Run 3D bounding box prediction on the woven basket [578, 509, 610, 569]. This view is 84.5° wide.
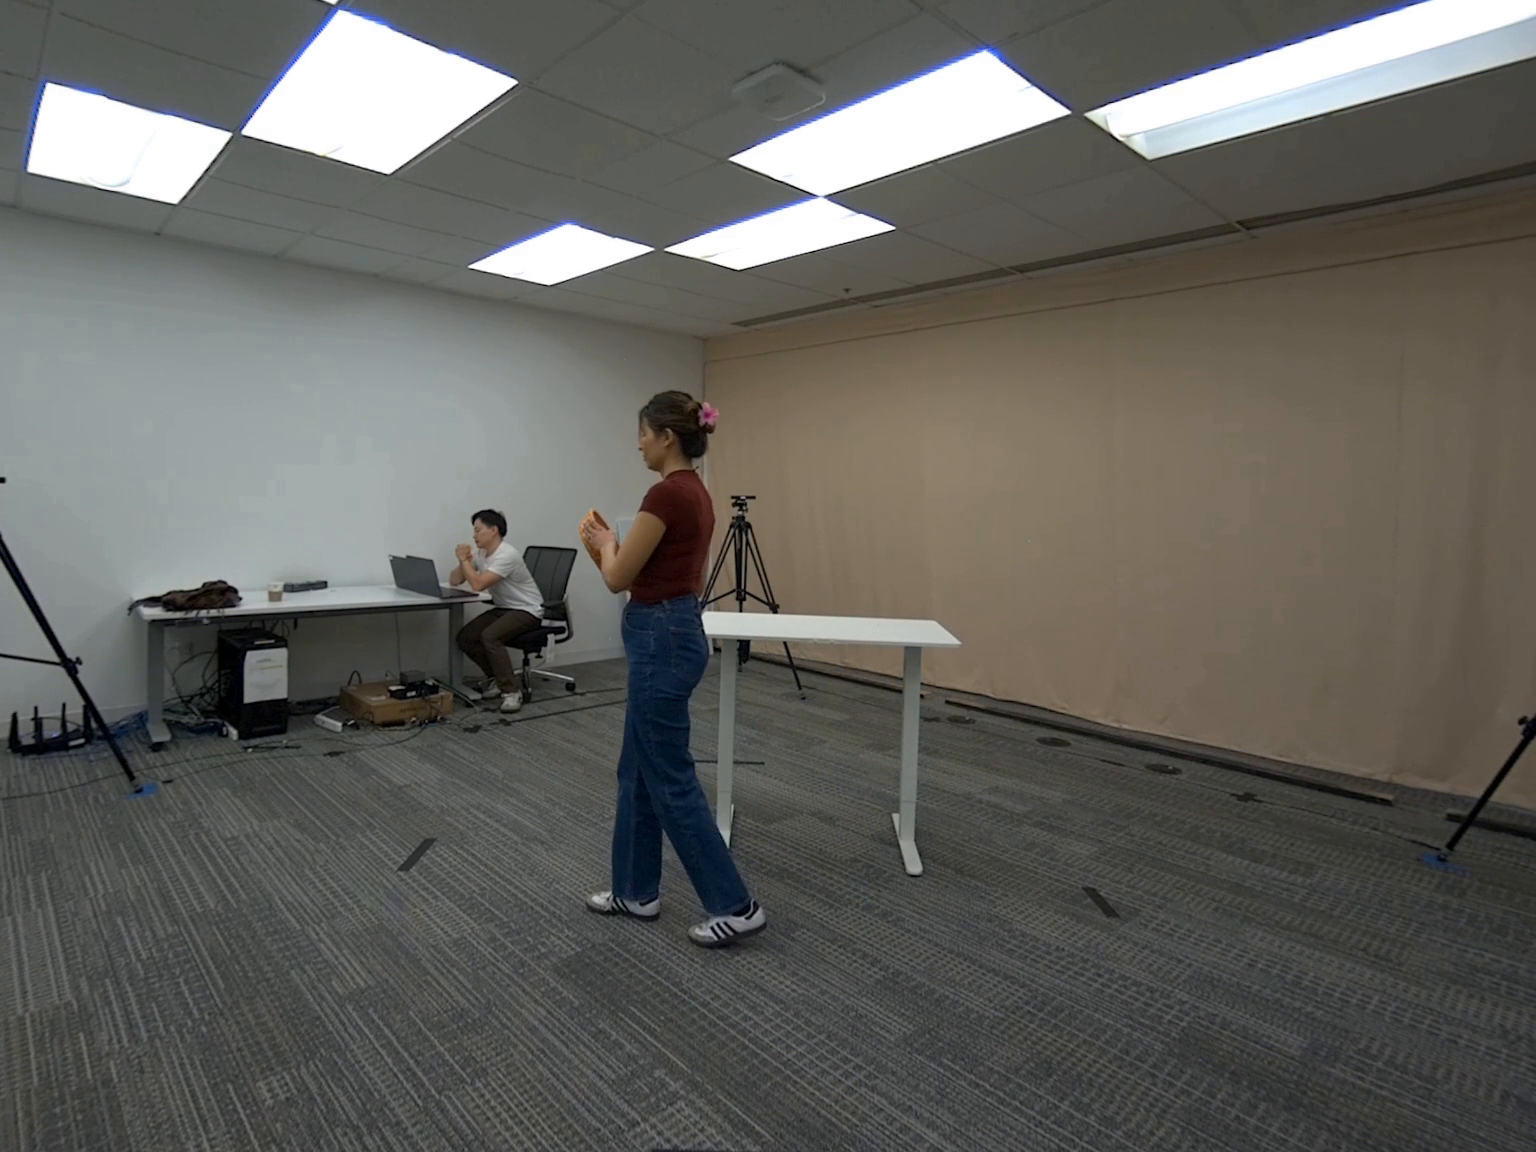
[{"bbox_3d":[-0.564,-0.072,2.973,0.073,0.343,0.257,-30,20,2],"label":"woven basket"}]
